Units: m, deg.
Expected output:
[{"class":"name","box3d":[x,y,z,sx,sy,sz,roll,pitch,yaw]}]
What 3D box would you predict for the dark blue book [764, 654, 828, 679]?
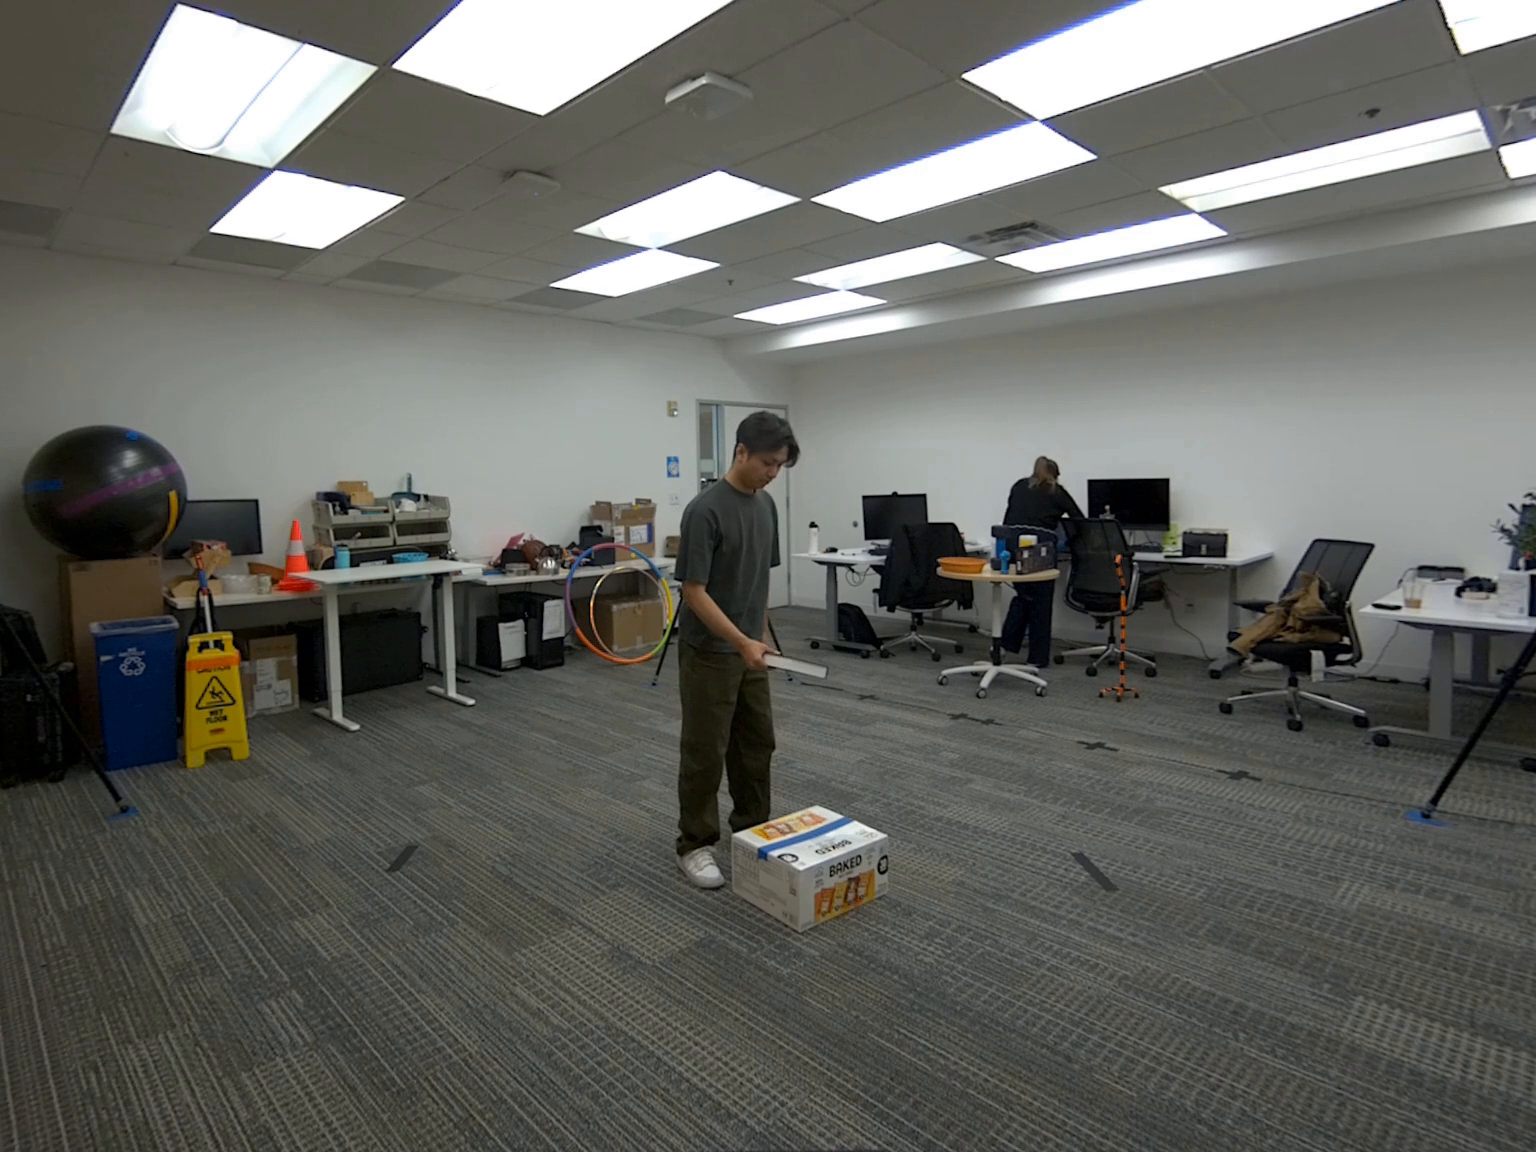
[{"class":"dark blue book","box3d":[0.072,0.300,2.841,0.158,0.045,0.252,16,-7,-33]}]
